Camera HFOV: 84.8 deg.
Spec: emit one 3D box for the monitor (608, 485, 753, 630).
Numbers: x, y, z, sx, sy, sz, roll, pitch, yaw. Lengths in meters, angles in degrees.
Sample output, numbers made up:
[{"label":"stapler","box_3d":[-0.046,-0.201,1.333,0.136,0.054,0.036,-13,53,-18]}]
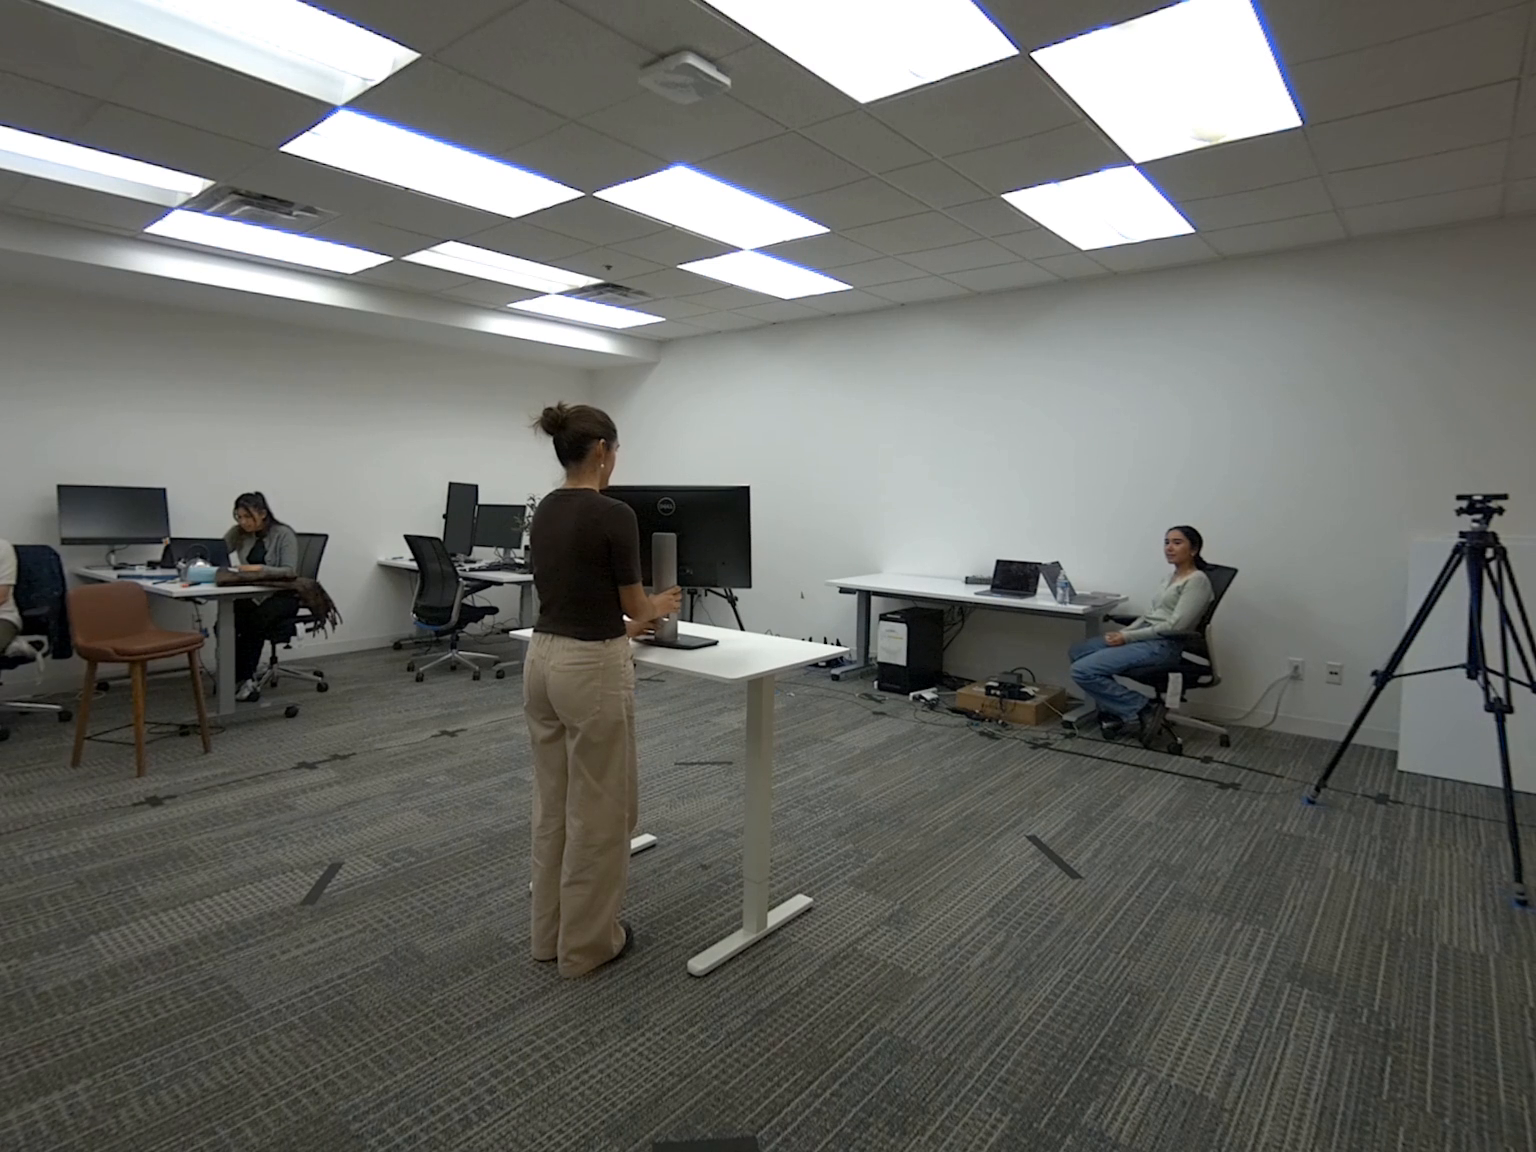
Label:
[{"label":"monitor","box_3d":[-0.333,-0.037,2.768,0.541,0.520,0.187,0,4,4]}]
